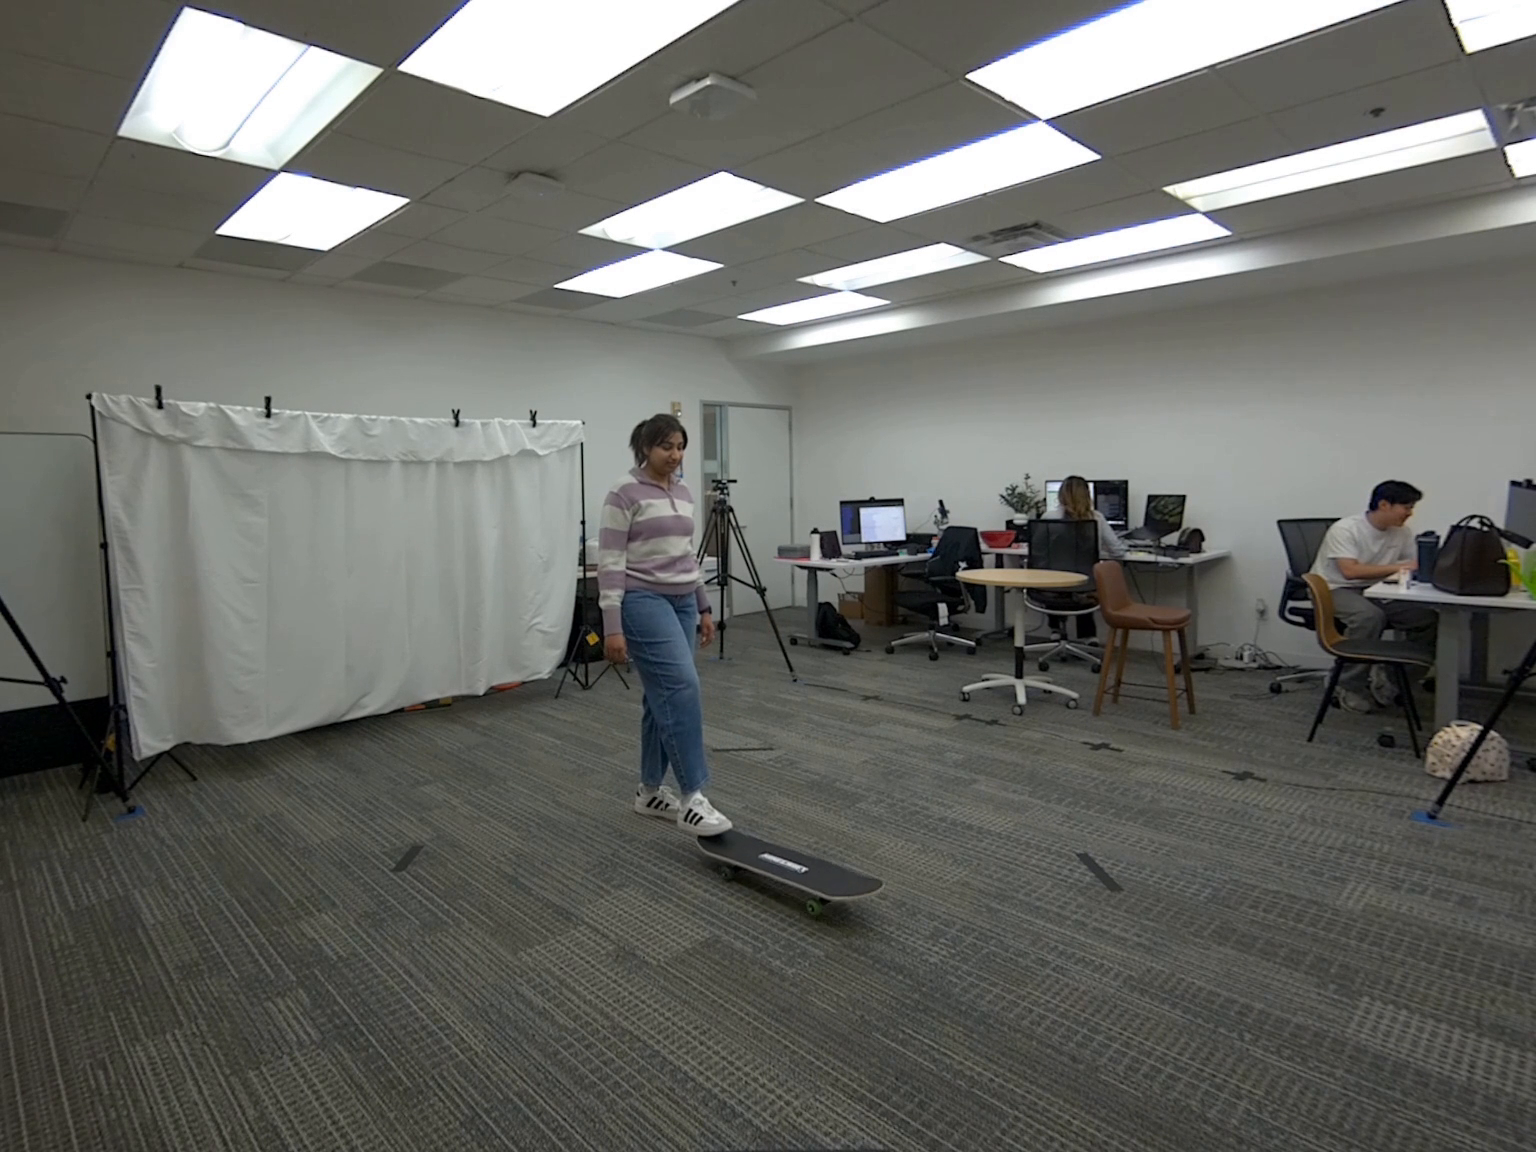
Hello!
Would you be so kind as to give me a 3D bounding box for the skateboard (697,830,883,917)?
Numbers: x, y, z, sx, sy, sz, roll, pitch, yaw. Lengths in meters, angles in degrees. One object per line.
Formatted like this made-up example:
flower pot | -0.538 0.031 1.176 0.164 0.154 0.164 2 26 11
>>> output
skateboard | 0.062 1.008 2.894 0.188 0.110 0.808 -8 6 -44
